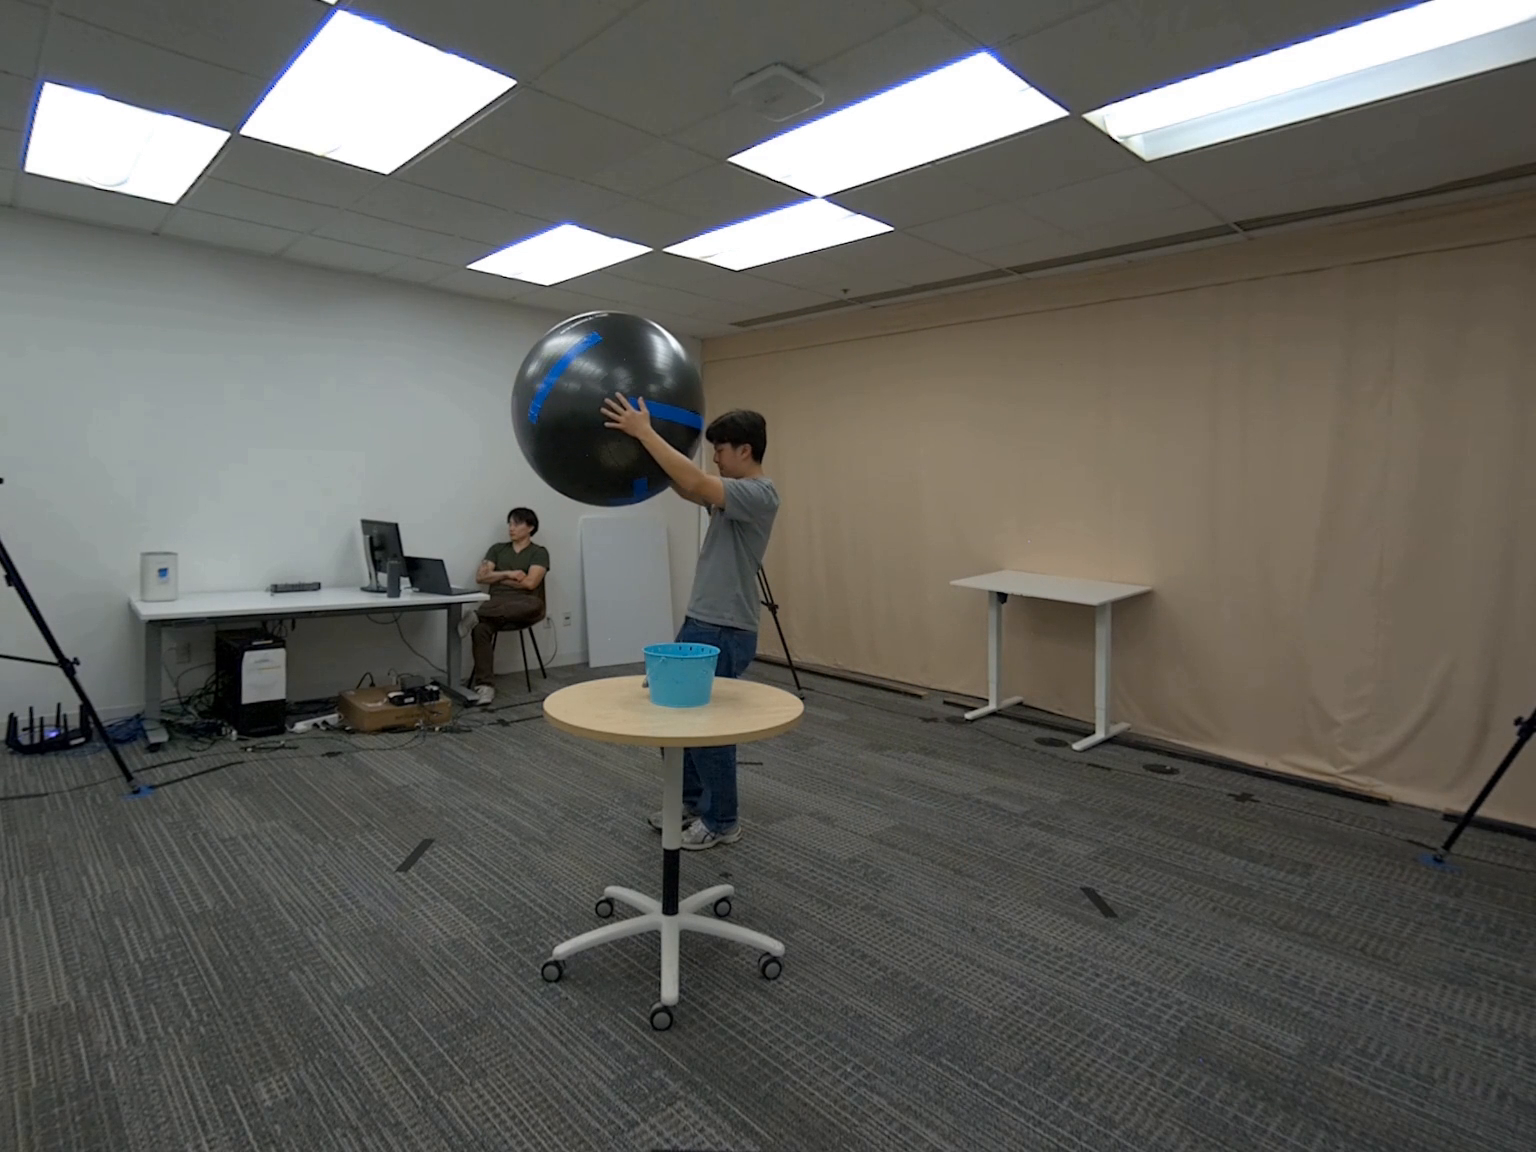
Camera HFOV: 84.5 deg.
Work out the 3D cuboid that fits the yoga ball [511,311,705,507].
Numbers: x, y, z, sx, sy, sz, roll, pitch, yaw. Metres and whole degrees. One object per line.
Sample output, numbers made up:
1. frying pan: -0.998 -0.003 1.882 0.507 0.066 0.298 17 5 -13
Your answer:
1. yoga ball: -0.632 -0.654 3.332 0.757 0.756 0.761 1 4 -1
